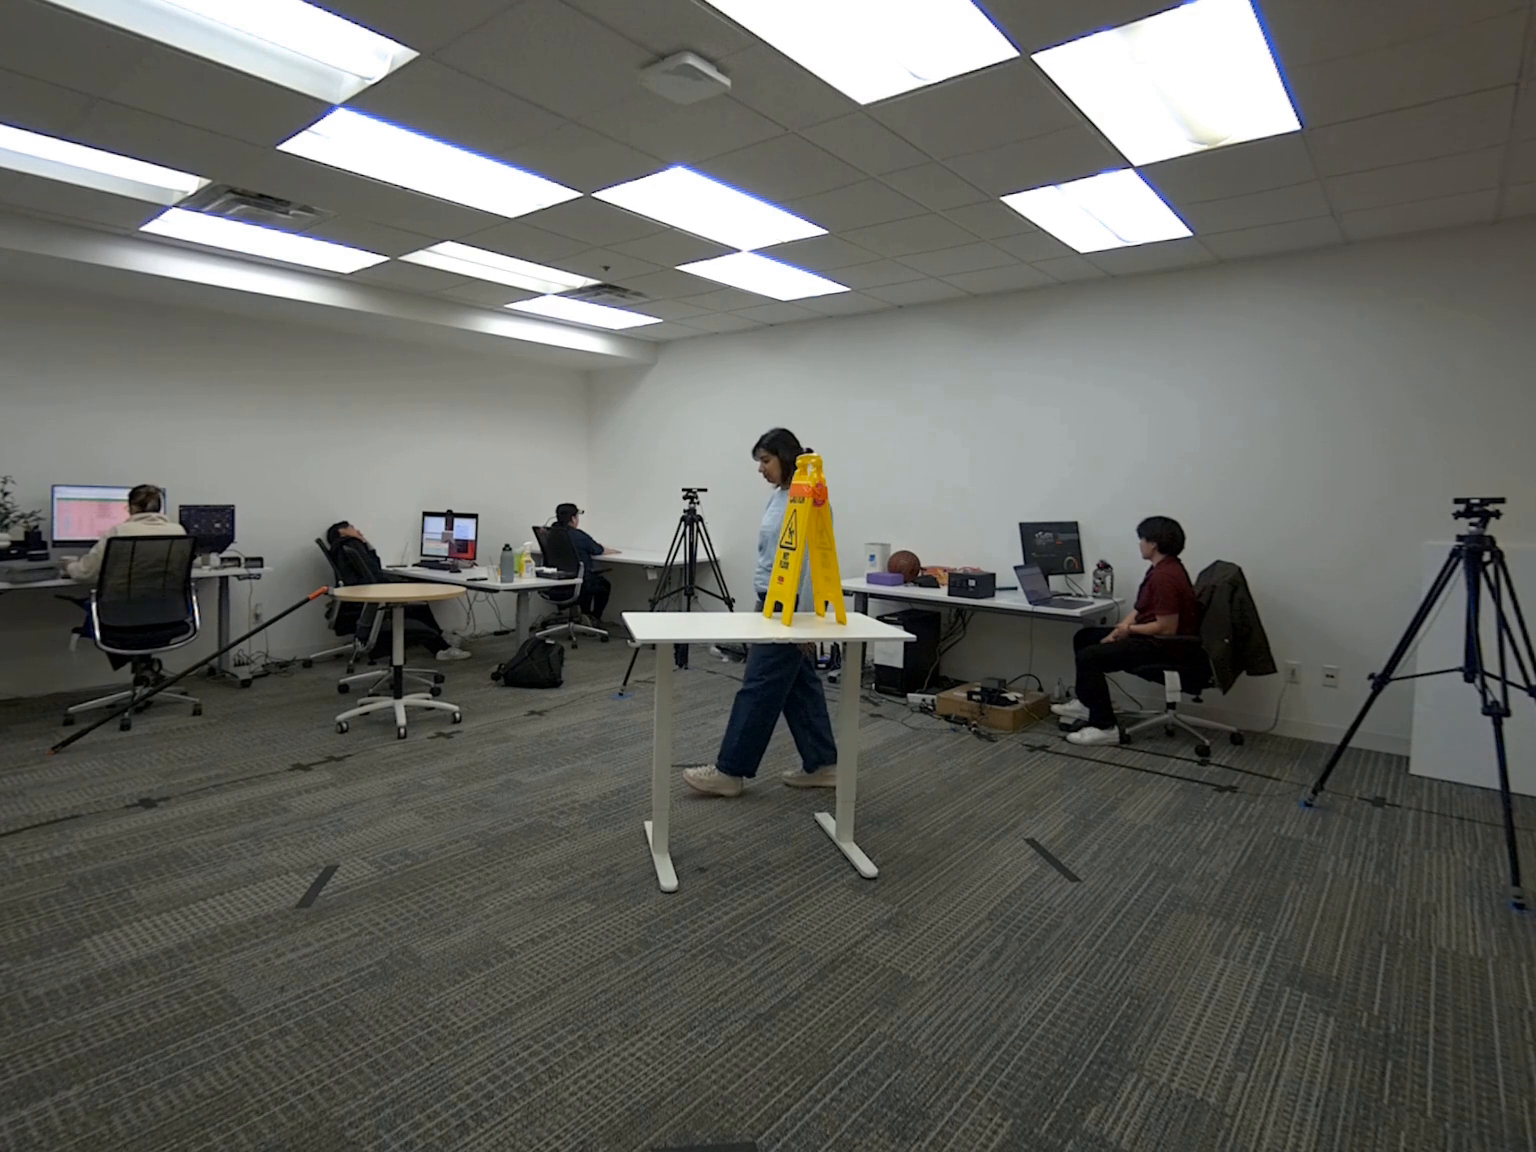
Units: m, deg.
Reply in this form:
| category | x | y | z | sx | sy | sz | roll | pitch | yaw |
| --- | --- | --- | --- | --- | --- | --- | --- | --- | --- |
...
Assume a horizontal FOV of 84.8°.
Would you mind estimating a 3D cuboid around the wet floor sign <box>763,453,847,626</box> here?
| category | x | y | z | sx | sy | sz | roll | pitch | yaw |
| --- | --- | --- | --- | --- | --- | --- | --- | --- | --- |
| wet floor sign | 0.143 | -0.155 | 3.342 | 0.285 | 0.644 | 0.288 | -1 | 4 | -18 |
